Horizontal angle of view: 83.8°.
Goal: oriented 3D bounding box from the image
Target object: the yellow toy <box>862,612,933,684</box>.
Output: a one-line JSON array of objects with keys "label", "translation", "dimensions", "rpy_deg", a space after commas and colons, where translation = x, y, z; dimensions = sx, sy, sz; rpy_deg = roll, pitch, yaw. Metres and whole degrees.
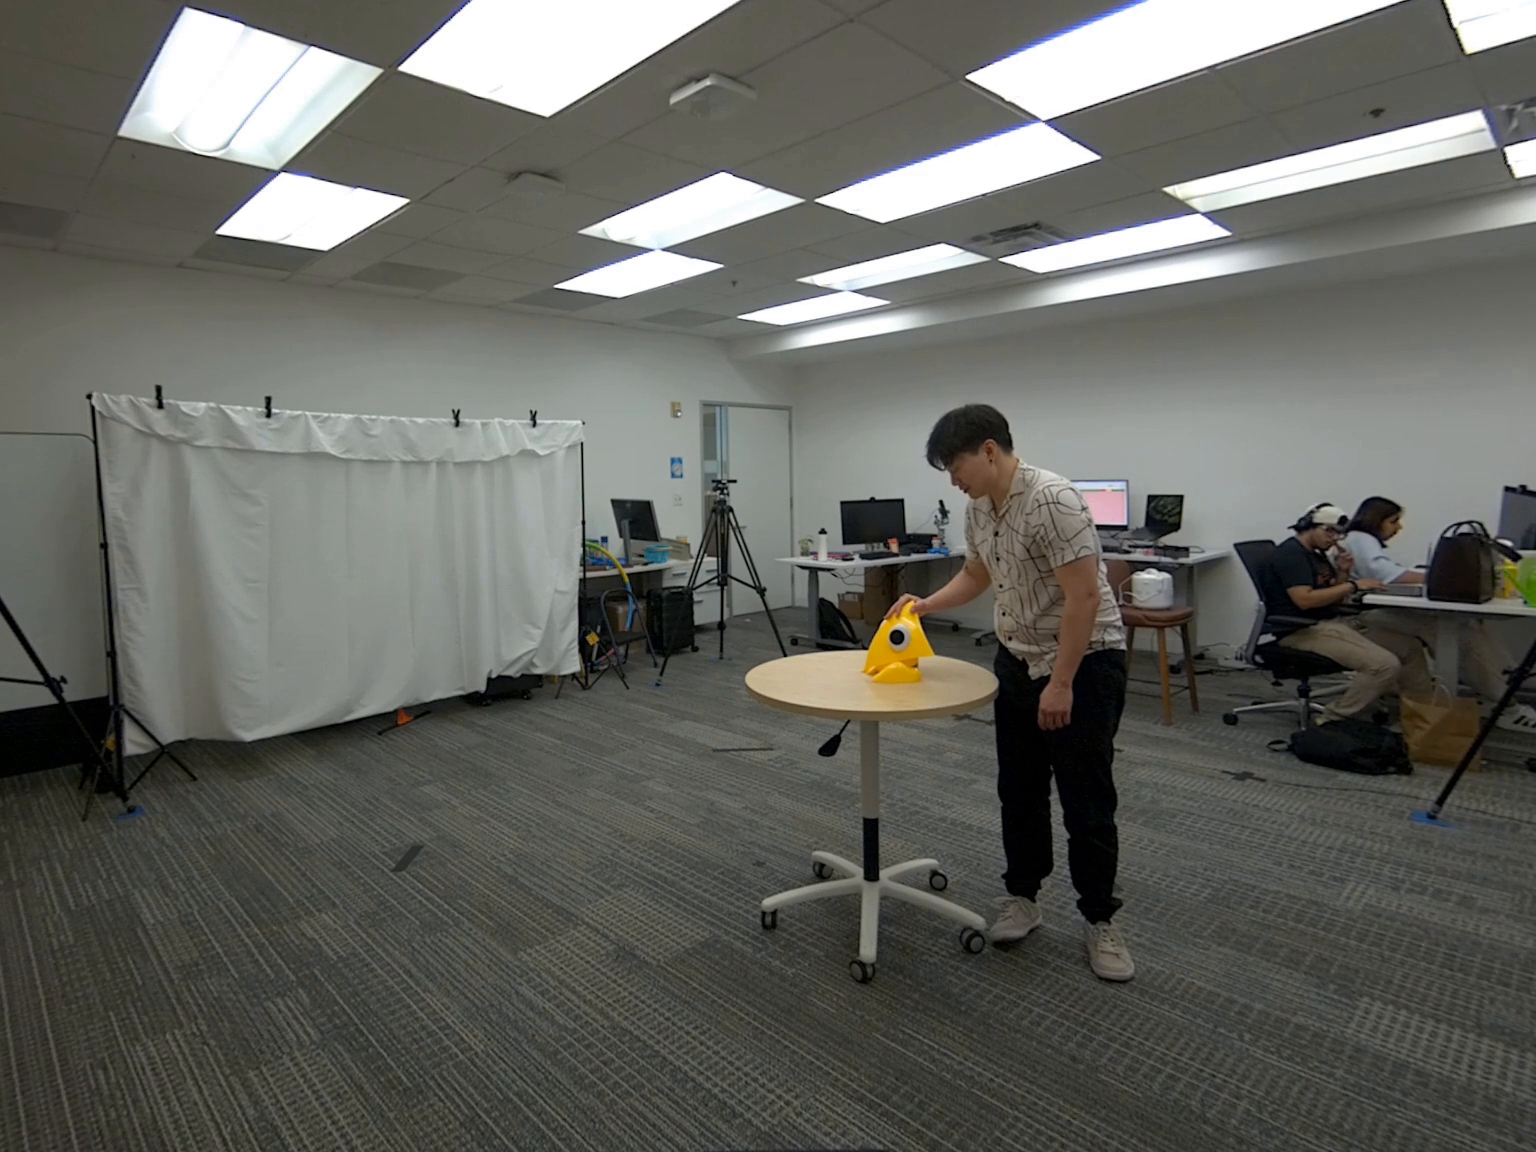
[{"label": "yellow toy", "translation": [0.402, 0.194, 2.639], "dimensions": [0.191, 0.230, 0.207], "rpy_deg": [-2, 5, -9]}]
